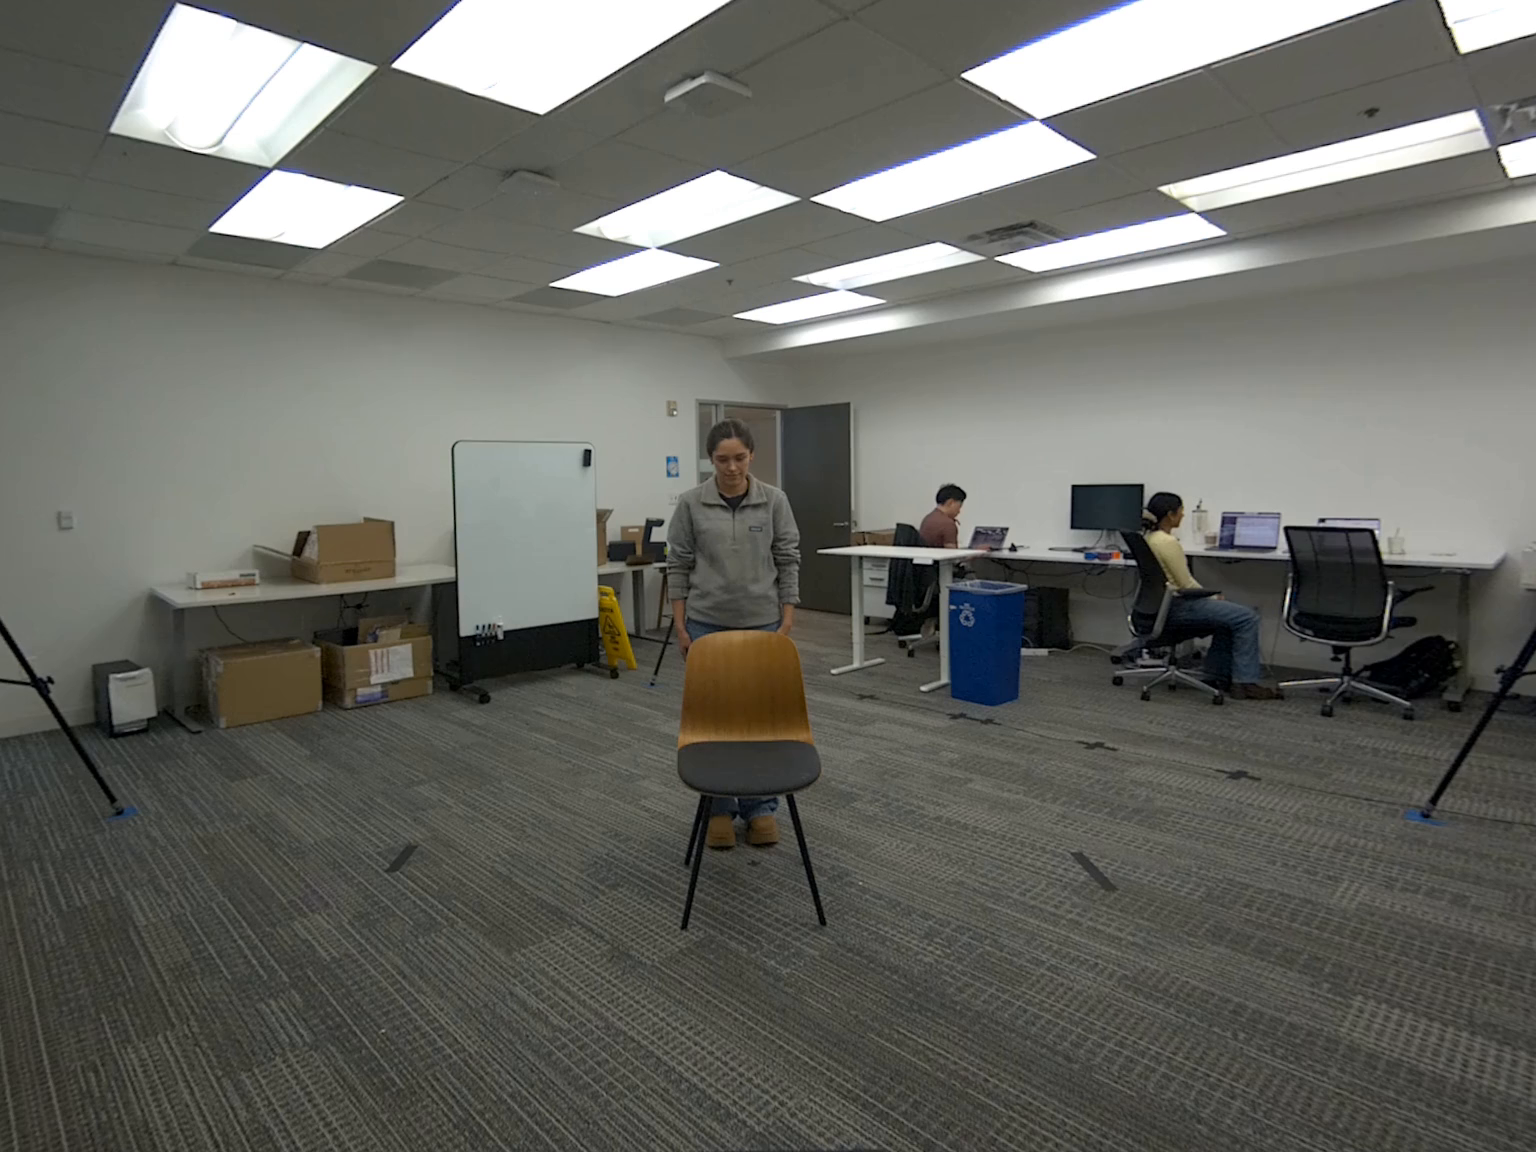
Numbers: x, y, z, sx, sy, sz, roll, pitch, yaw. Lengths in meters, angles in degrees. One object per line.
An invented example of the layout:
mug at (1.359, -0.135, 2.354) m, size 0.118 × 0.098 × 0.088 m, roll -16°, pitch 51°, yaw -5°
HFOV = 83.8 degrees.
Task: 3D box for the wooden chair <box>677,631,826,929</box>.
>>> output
wooden chair at (-0.062, 0.649, 2.838) m, size 0.477 × 0.877 × 0.524 m, roll 0°, pitch 0°, yaw -3°
